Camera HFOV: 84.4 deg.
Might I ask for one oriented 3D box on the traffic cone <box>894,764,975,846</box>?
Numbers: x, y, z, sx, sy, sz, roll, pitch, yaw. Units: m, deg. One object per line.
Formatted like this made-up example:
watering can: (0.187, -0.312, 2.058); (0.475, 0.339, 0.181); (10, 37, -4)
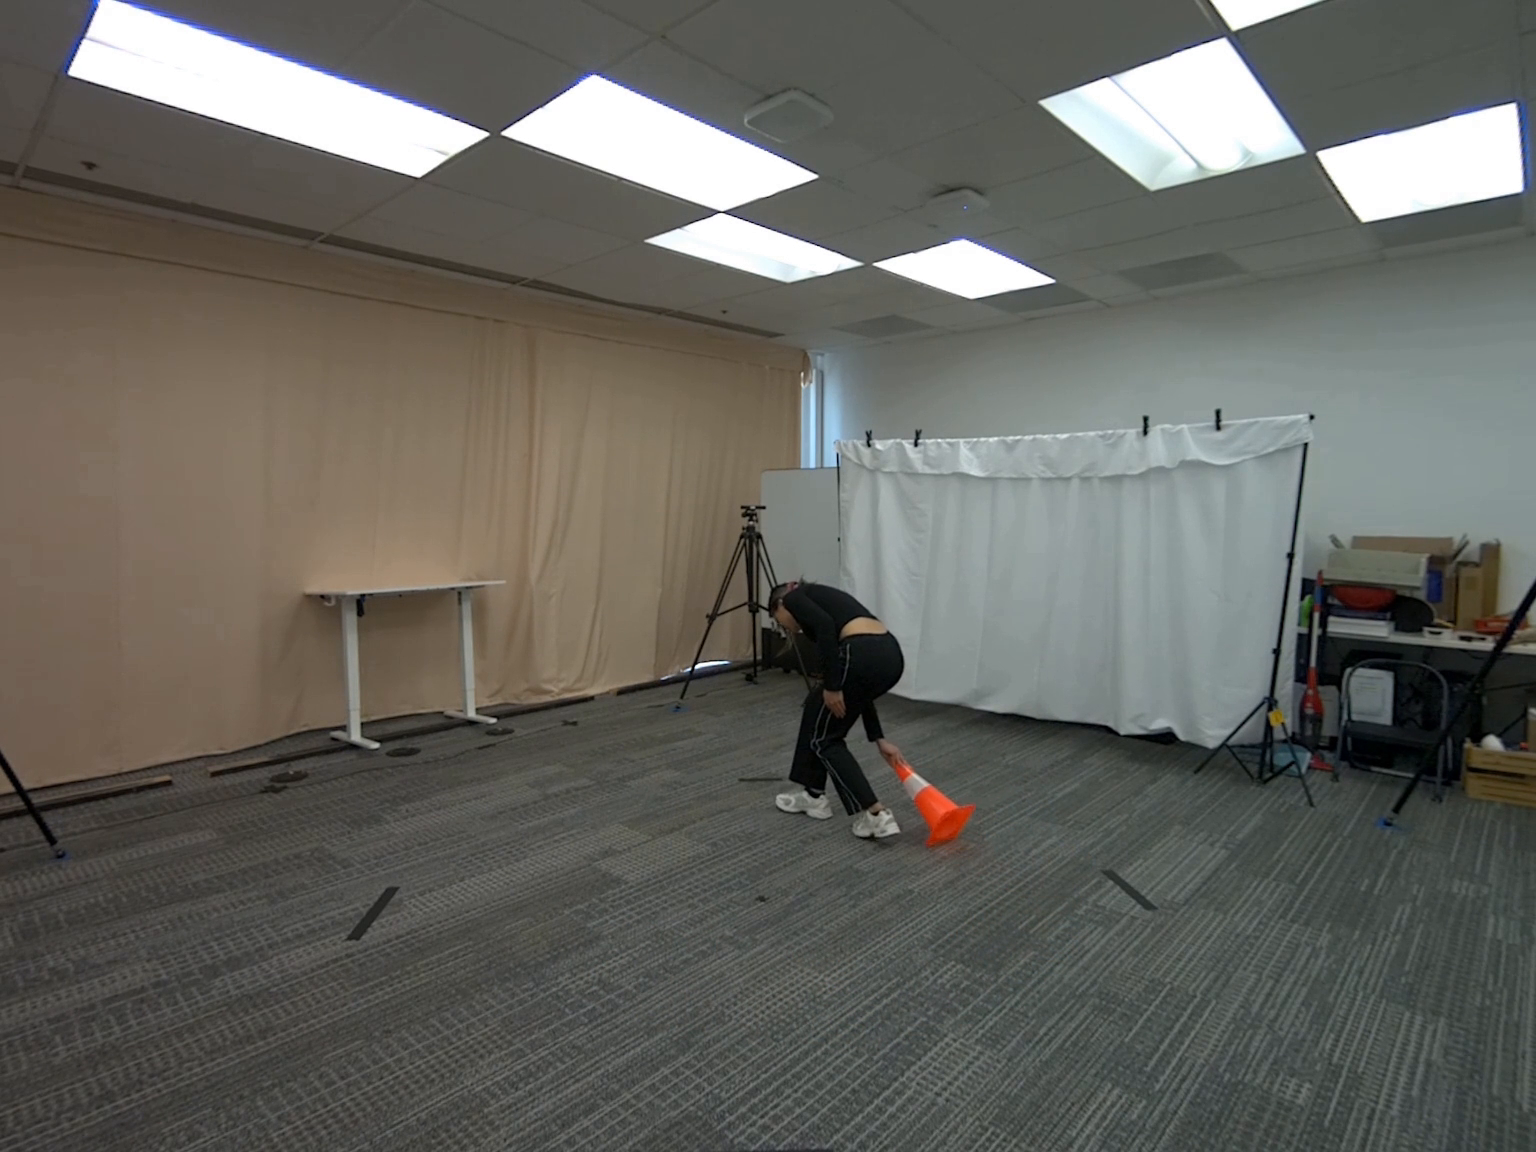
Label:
traffic cone: (0.658, 0.914, 3.573); (0.200, 0.201, 0.397); (-9, 38, -29)
